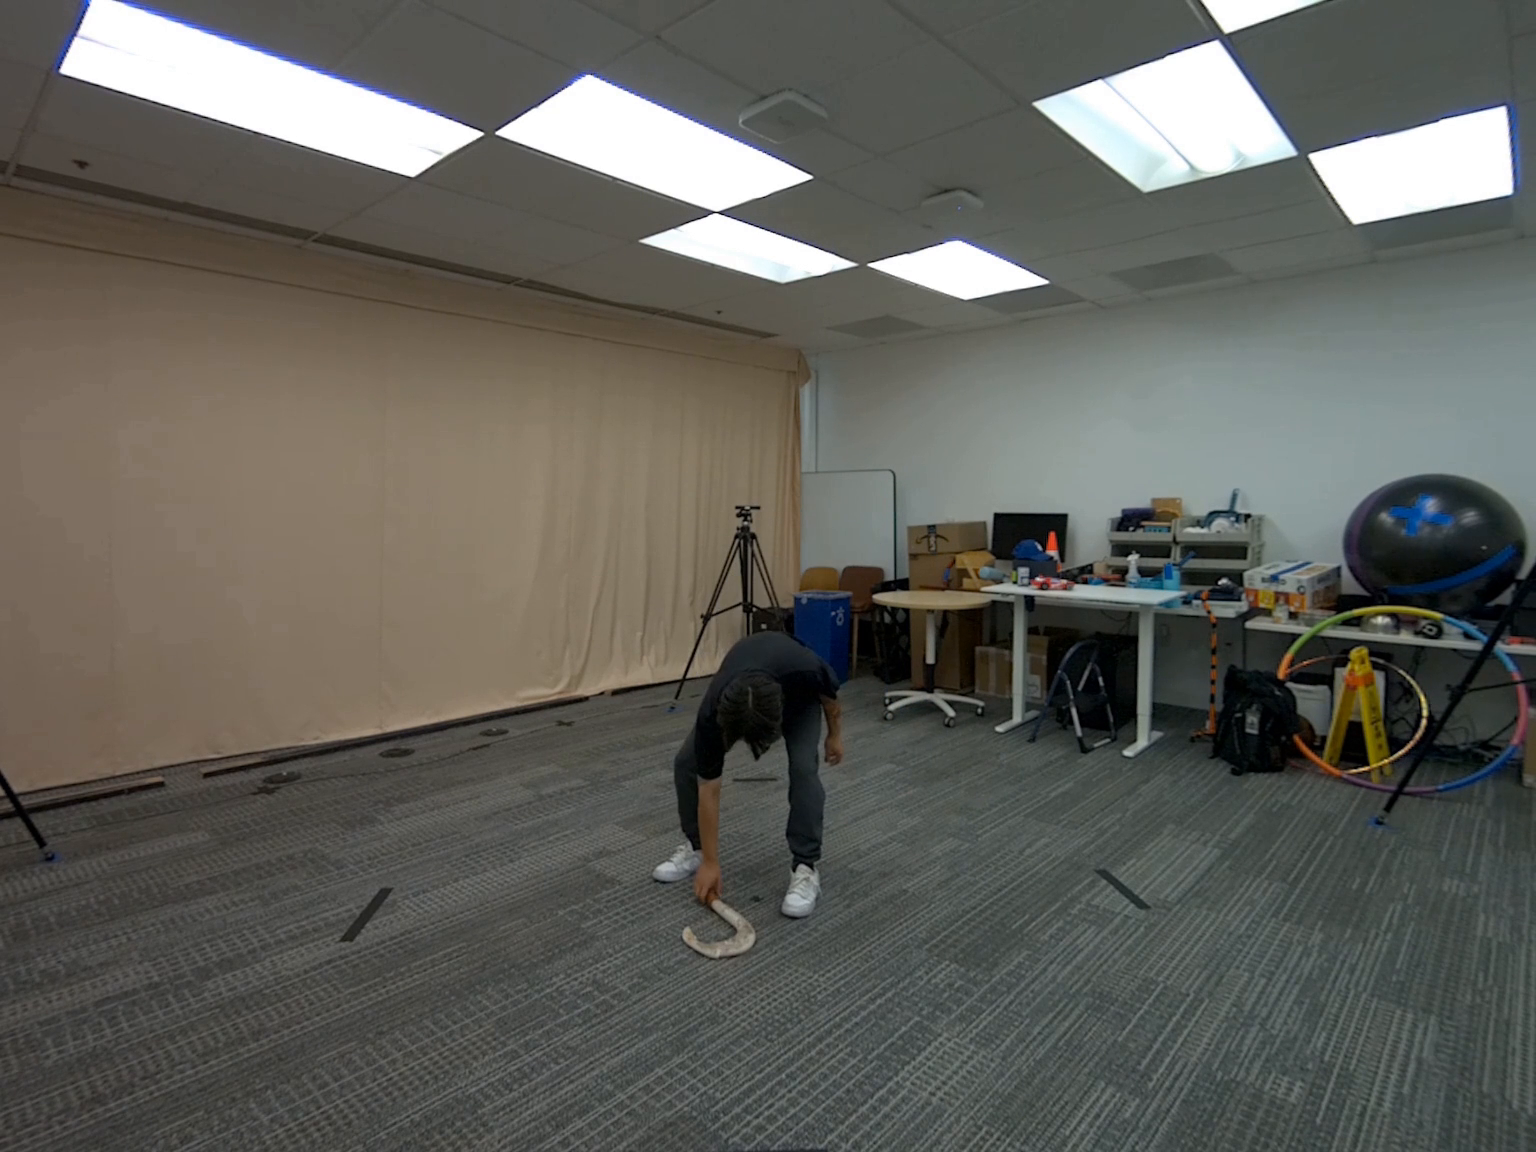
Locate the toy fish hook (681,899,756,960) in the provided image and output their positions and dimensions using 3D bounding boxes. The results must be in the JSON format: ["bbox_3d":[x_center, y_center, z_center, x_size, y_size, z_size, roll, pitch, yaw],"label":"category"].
[{"bbox_3d":[-0.198,1.130,2.828,0.220,0.048,0.517,0,5,-19],"label":"toy fish hook"}]
